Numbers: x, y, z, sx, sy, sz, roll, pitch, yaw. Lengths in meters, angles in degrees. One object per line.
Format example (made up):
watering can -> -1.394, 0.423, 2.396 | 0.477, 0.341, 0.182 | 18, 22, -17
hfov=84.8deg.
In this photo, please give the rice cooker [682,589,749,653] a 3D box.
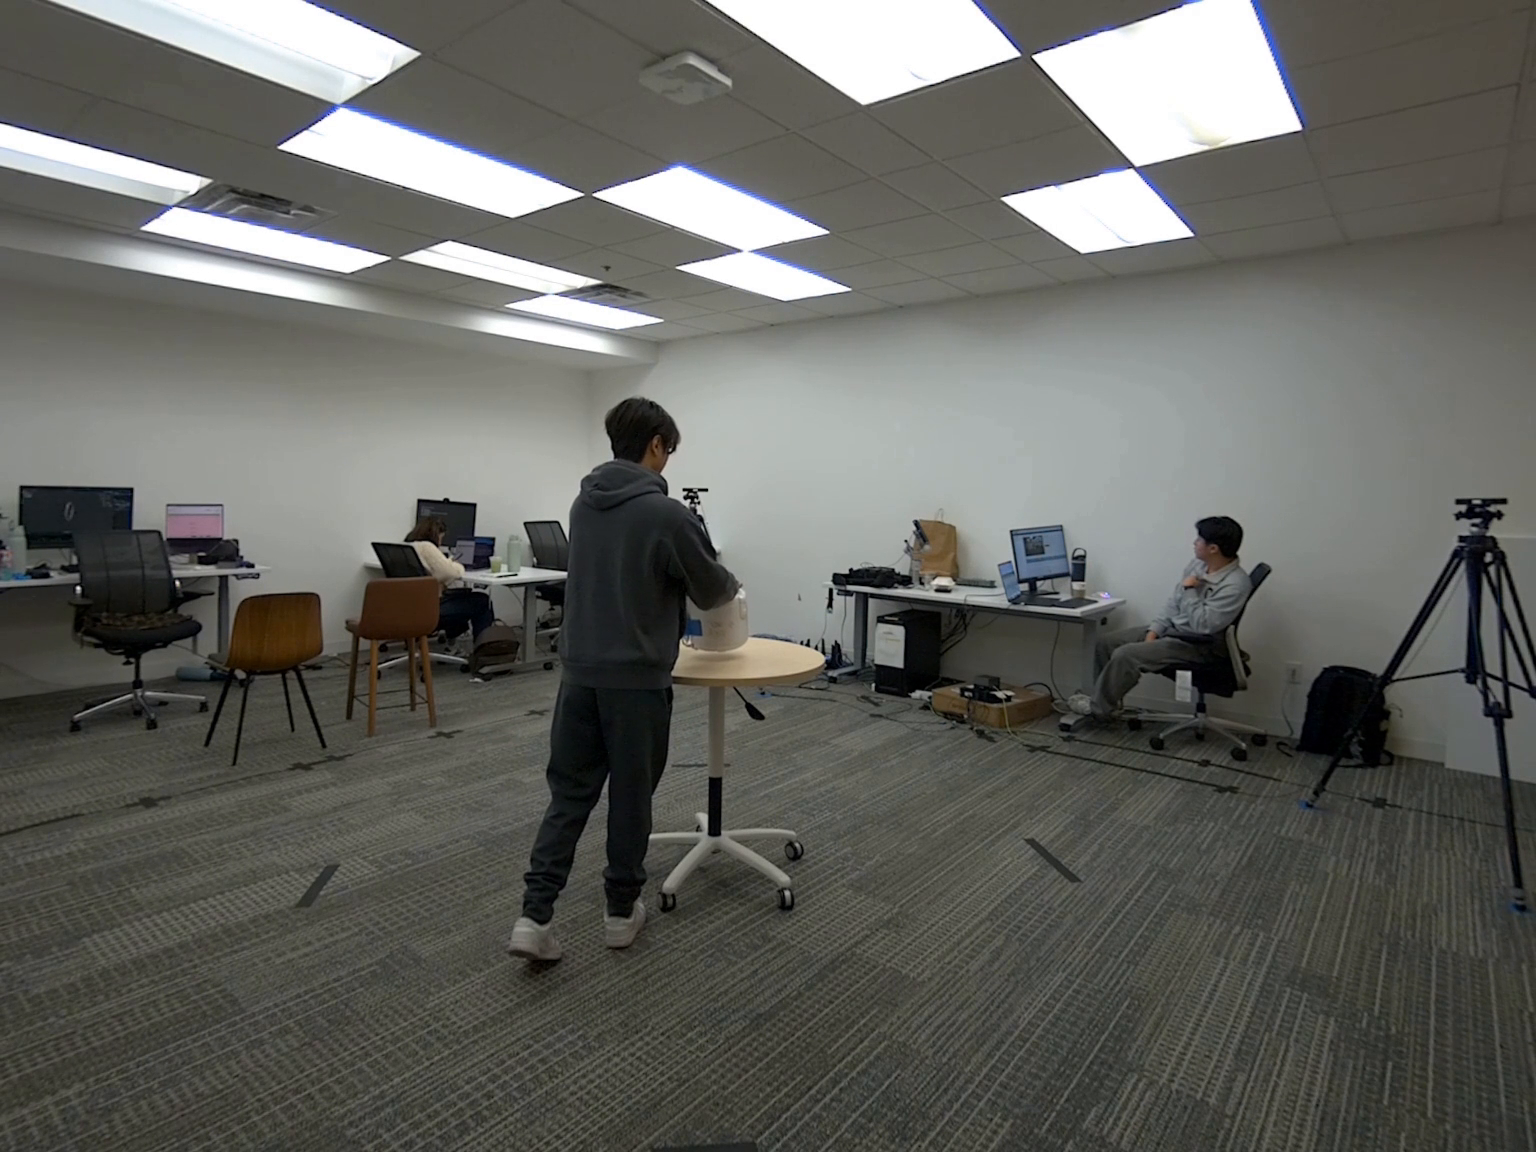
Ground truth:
rice cooker -> -0.191, 0.132, 3.004 | 0.227, 0.231, 0.213 | 3, 11, 30
